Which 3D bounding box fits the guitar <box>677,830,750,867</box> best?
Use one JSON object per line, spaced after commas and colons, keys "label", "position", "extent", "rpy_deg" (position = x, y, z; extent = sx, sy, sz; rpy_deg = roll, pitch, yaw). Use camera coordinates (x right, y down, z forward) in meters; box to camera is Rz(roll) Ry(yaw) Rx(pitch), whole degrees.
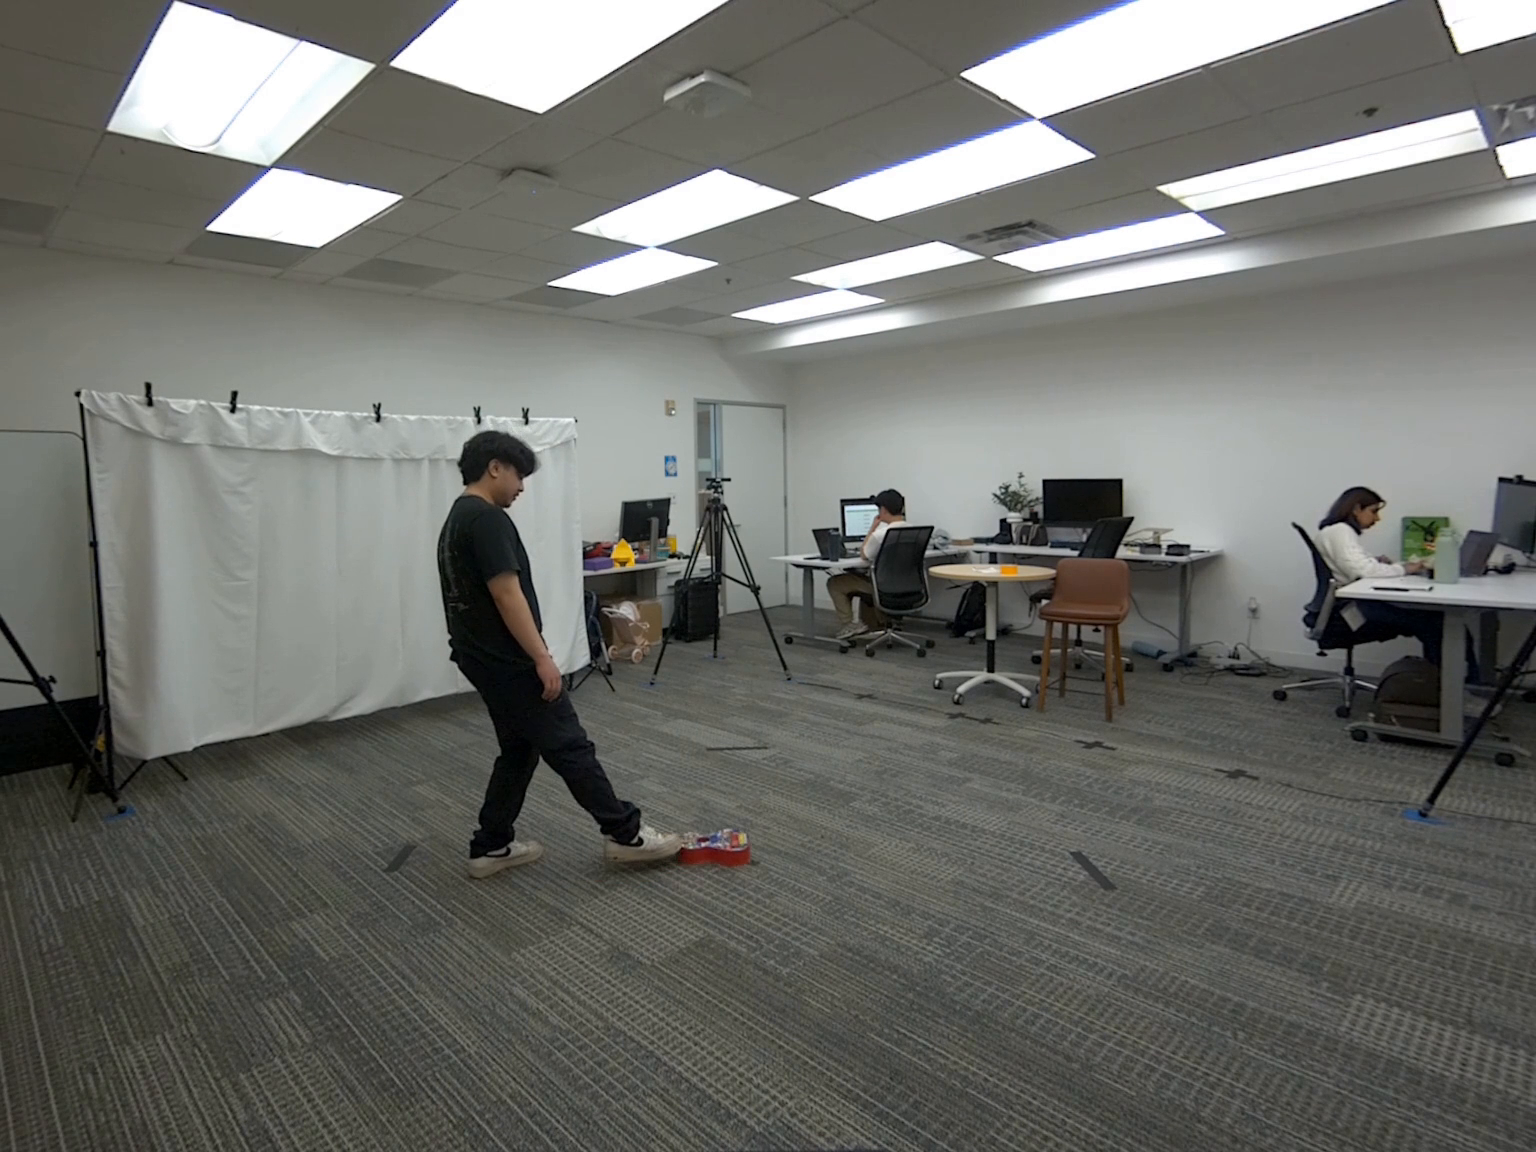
{"label": "guitar", "position": [-0.323, 0.997, 3.189], "extent": [0.501, 0.070, 0.193], "rpy_deg": [1, 7, 7]}
